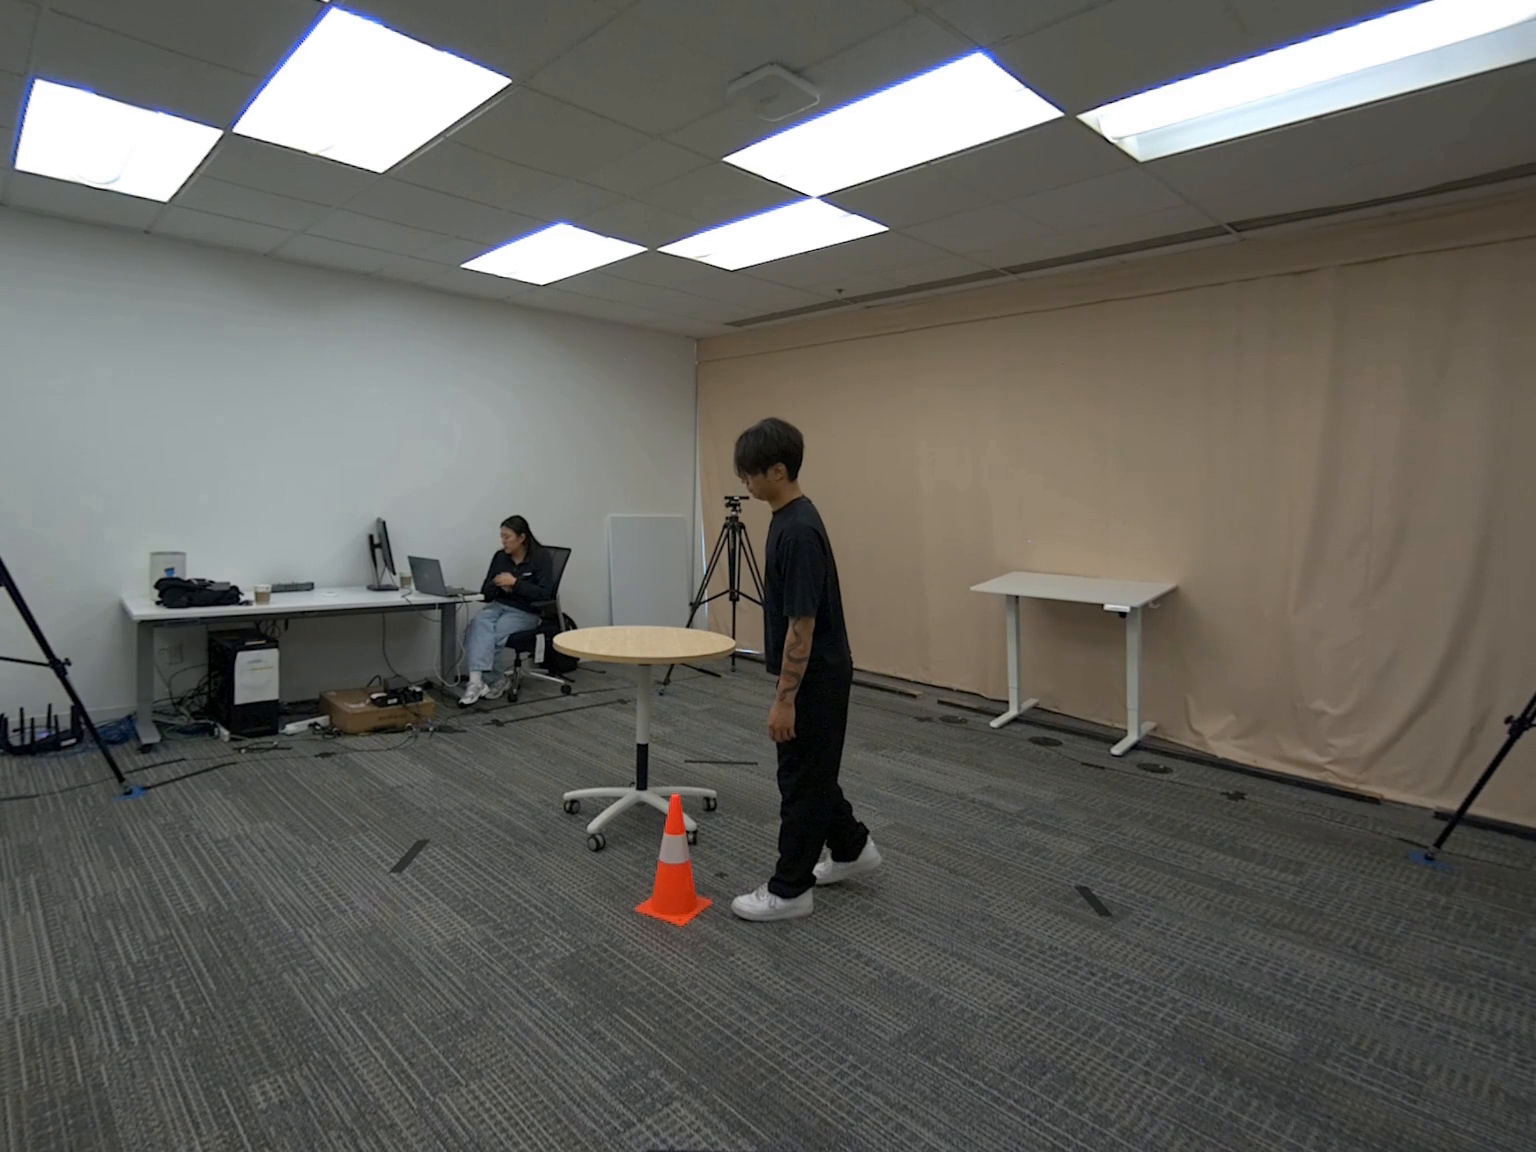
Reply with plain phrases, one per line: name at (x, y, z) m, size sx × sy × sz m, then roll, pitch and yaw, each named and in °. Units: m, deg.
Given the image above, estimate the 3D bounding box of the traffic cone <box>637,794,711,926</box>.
traffic cone at (-0.319, 0.936, 2.860) m, size 0.209 × 0.383 × 0.199 m, roll 3°, pitch 3°, yaw 29°
